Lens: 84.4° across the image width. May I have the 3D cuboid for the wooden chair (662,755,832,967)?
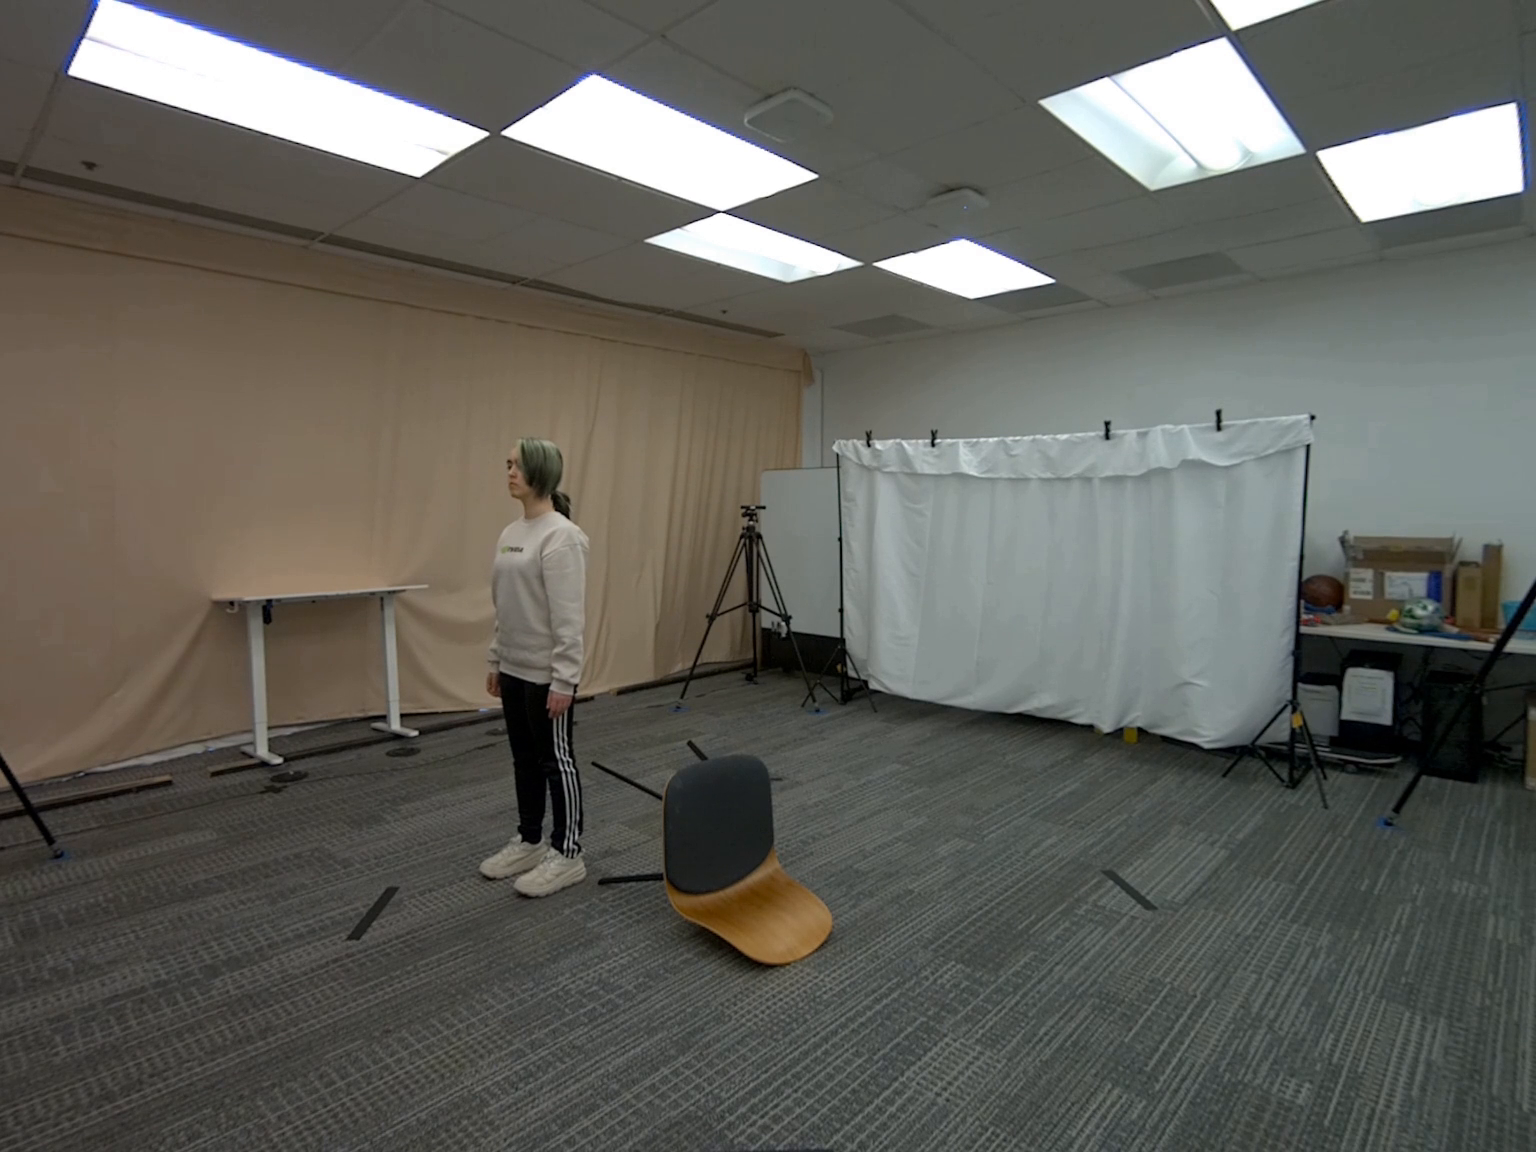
[{"bbox_3d":[-0.188,0.895,2.906,0.464,0.521,0.907,-4,7,-39],"label":"wooden chair"}]
